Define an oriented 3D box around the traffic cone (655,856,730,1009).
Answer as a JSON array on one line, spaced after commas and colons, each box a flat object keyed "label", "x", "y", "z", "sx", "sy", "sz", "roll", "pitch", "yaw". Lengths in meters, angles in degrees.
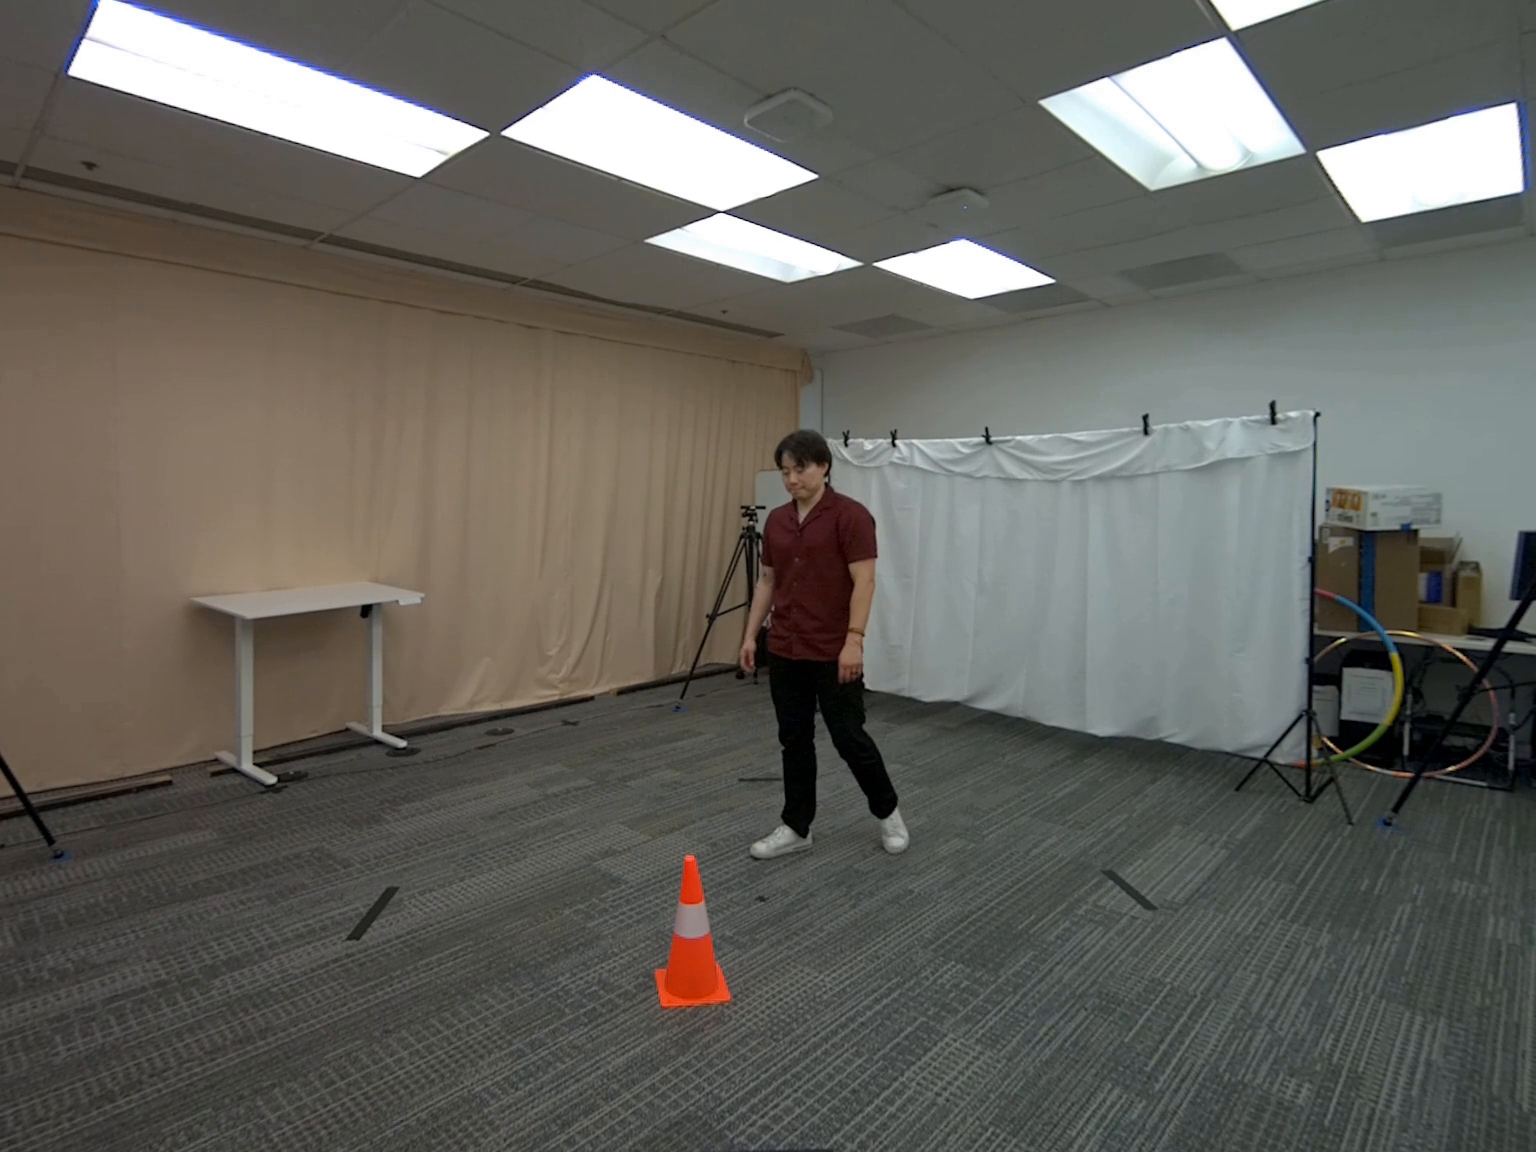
[{"label": "traffic cone", "x": -0.216, "y": 1.006, "z": 2.426, "sx": 0.201, "sy": 0.383, "sz": 0.208, "roll": -1, "pitch": 4, "yaw": -12}]
